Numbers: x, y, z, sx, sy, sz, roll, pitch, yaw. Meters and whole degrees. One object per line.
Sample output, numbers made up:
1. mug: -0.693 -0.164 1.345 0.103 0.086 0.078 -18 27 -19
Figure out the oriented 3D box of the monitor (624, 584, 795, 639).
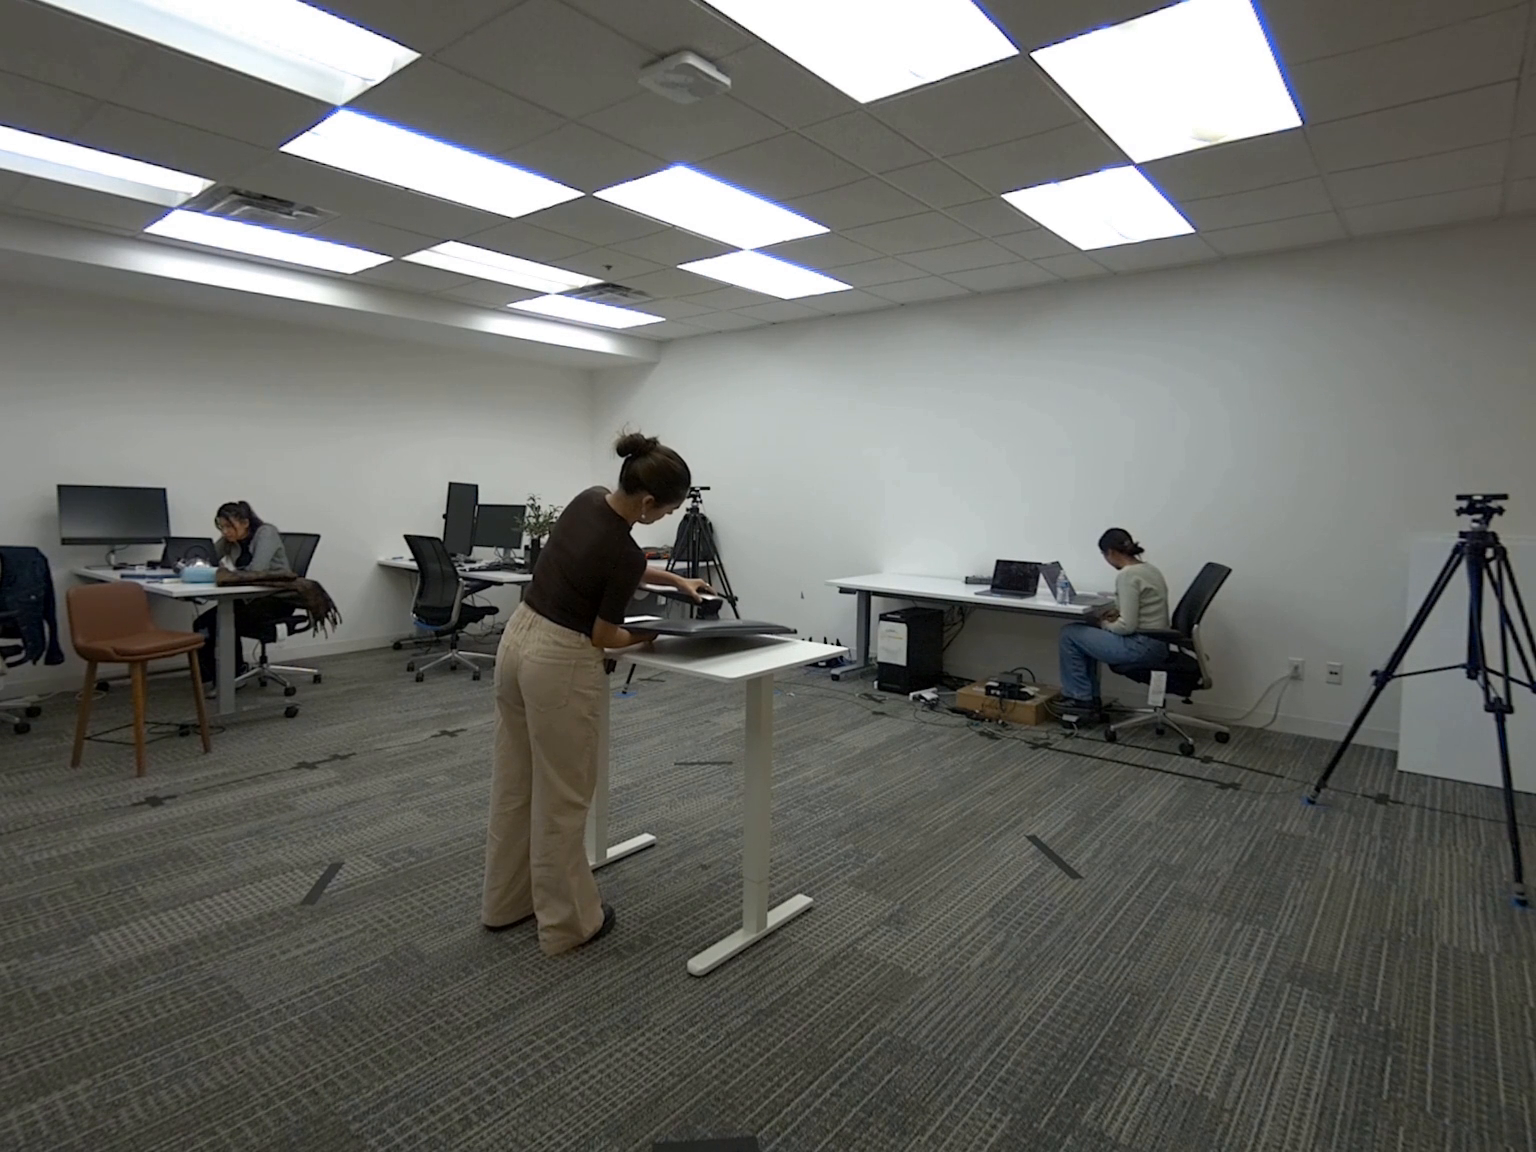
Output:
1. monitor: -0.277 0.121 2.818 0.544 0.185 0.522 21 15 41
